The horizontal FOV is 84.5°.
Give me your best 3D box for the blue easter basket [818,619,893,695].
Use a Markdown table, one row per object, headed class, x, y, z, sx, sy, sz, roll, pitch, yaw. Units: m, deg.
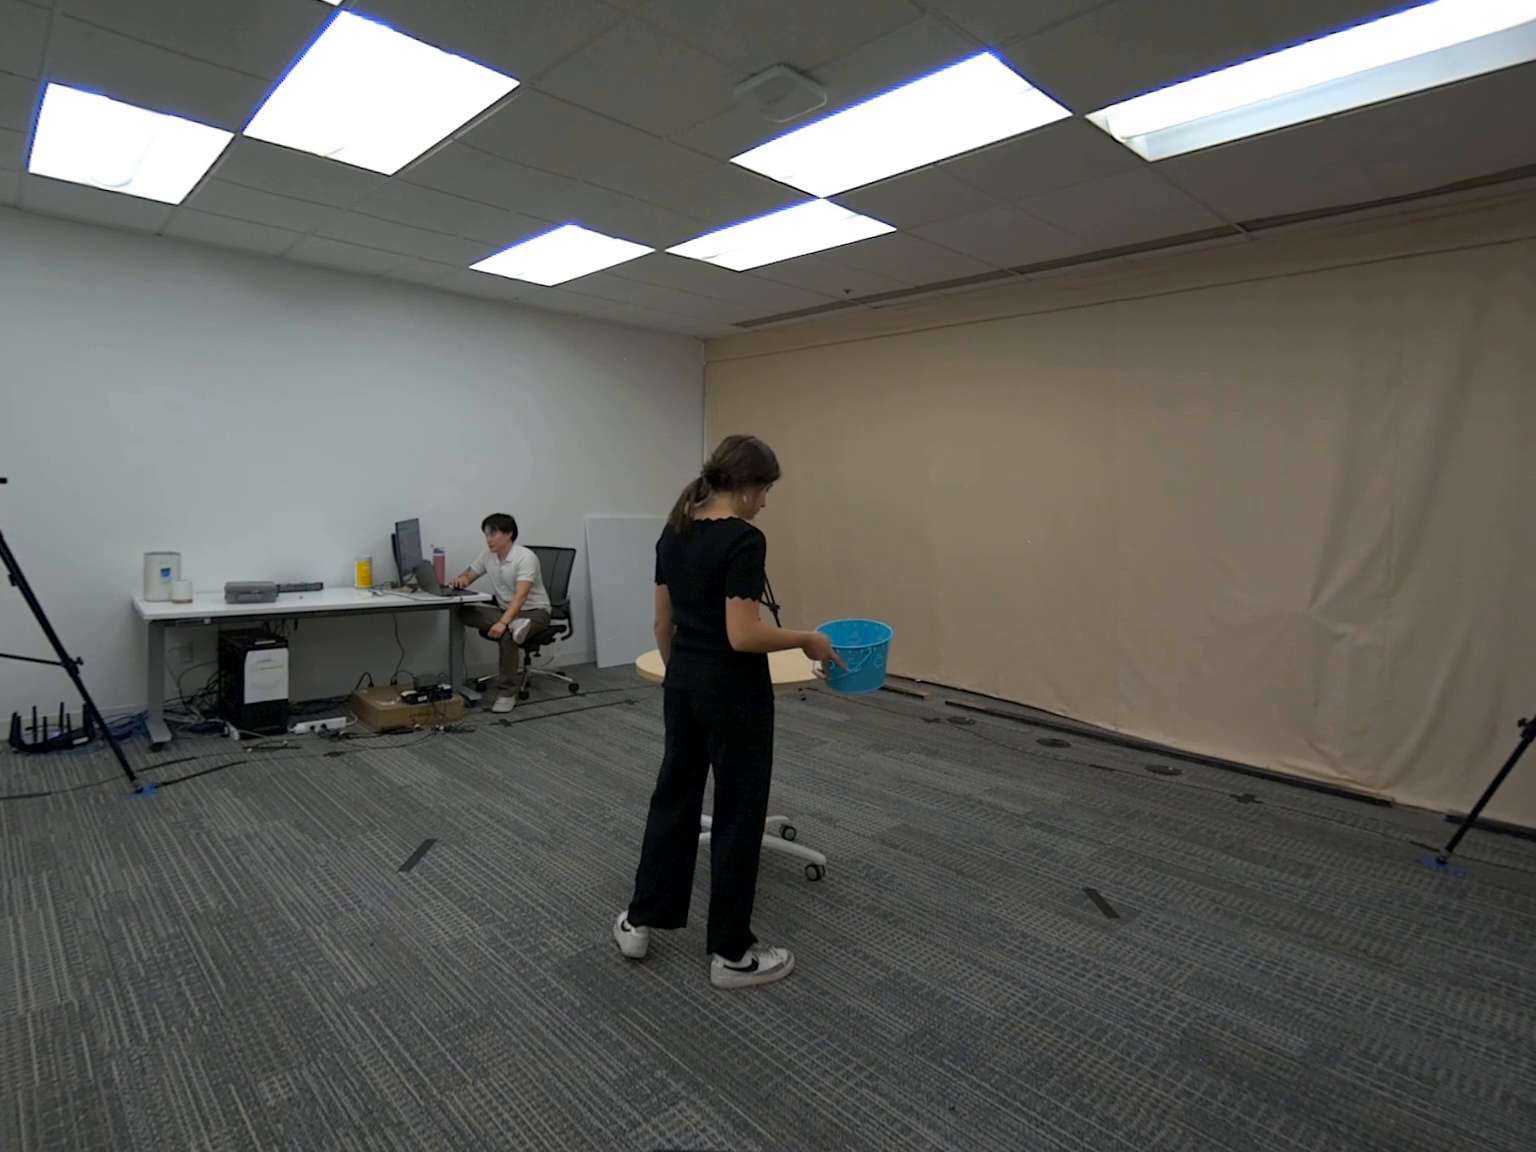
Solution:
| class | x | y | z | sx | sy | sz | roll | pitch | yaw |
| --- | --- | --- | --- | --- | --- | --- | --- | --- | --- |
| blue easter basket | 0.247 | 0.238 | 2.481 | 0.243 | 0.154 | 0.246 | -3 | 14 | -1 |
